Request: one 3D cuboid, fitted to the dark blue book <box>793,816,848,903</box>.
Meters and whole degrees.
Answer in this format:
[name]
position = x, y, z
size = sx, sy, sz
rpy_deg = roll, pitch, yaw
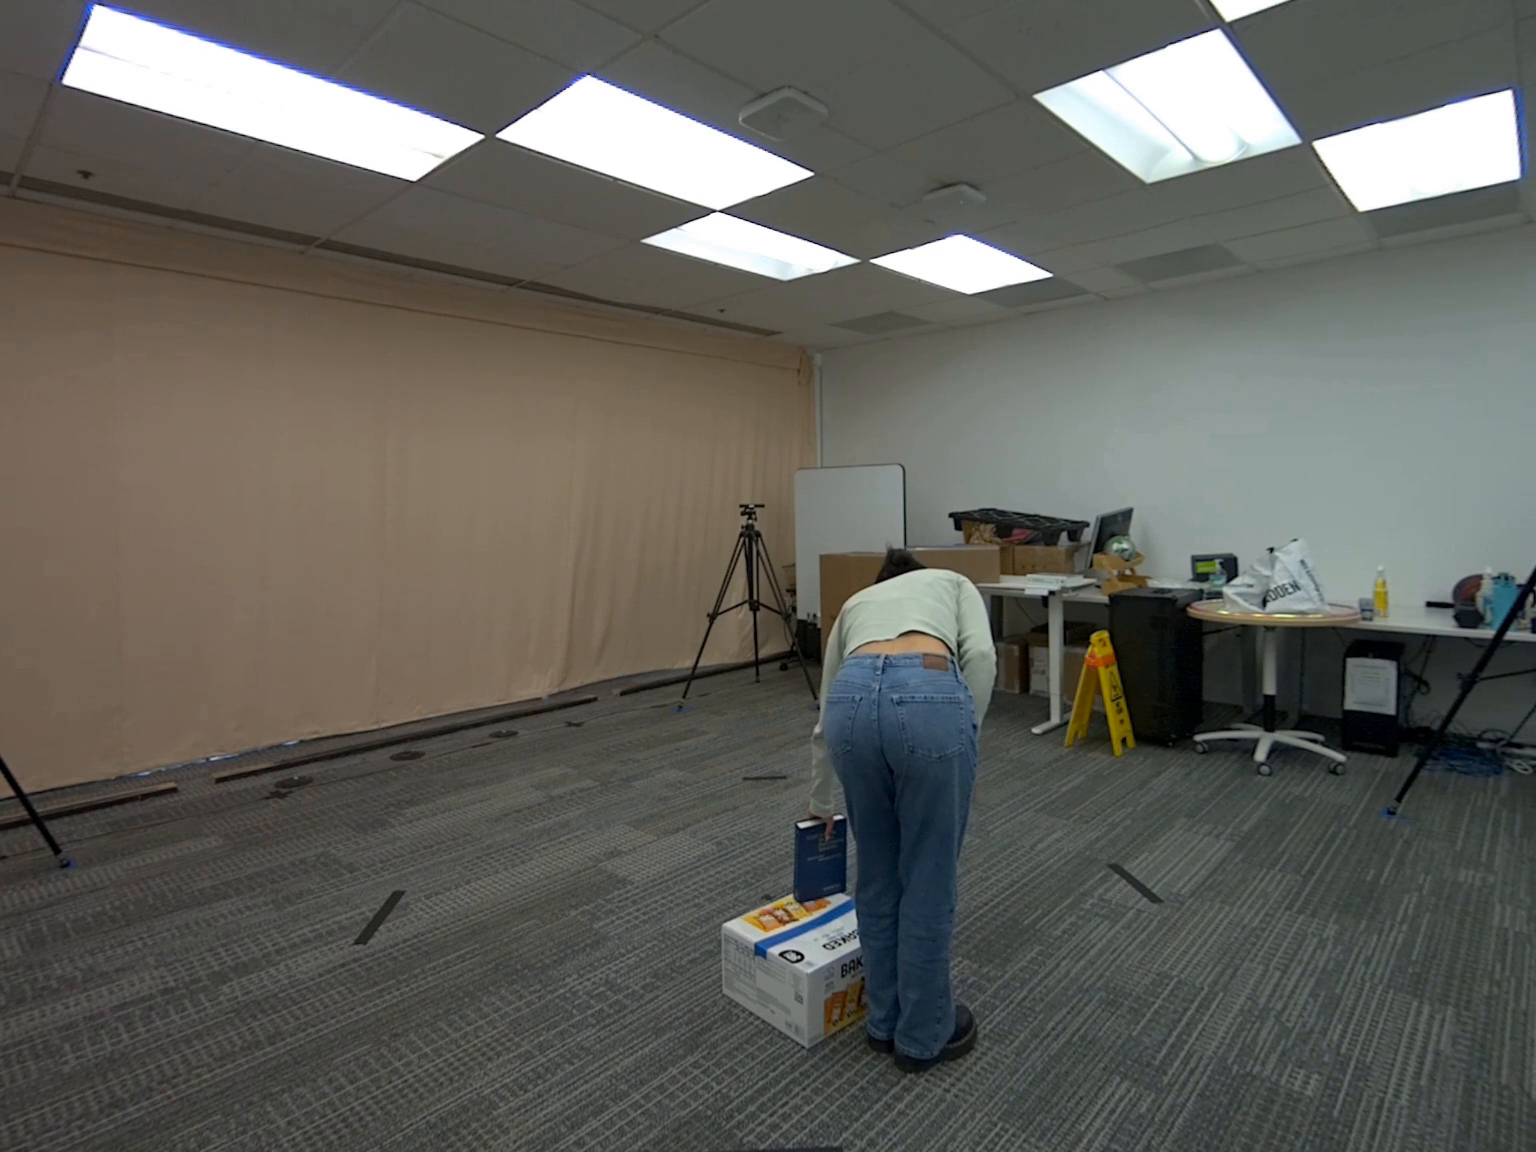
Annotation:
[dark blue book]
position = 0.163, 0.856, 2.541
size = 0.160, 0.244, 0.046
rpy_deg = -3, 9, -24
